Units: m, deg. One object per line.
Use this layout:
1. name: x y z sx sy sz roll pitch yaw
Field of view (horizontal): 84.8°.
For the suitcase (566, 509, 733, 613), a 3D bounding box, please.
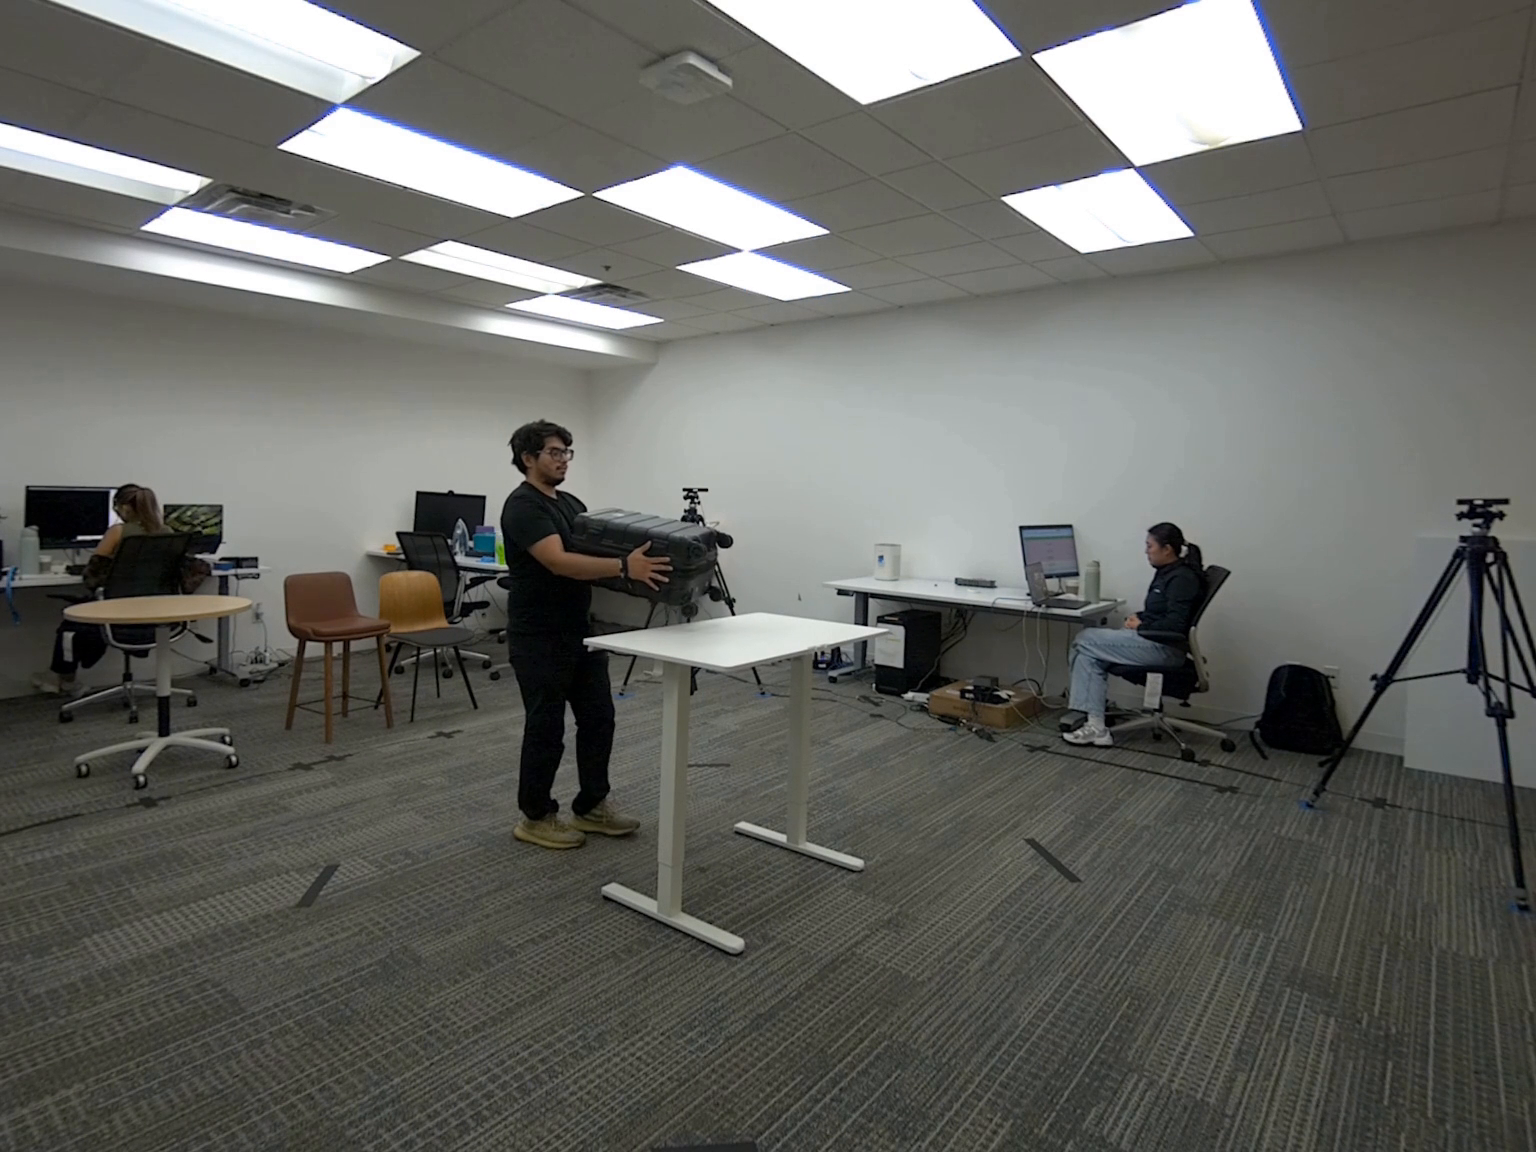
1. suitcase: -0.455 -0.082 3.175 0.562 0.246 0.370 15 13 18
